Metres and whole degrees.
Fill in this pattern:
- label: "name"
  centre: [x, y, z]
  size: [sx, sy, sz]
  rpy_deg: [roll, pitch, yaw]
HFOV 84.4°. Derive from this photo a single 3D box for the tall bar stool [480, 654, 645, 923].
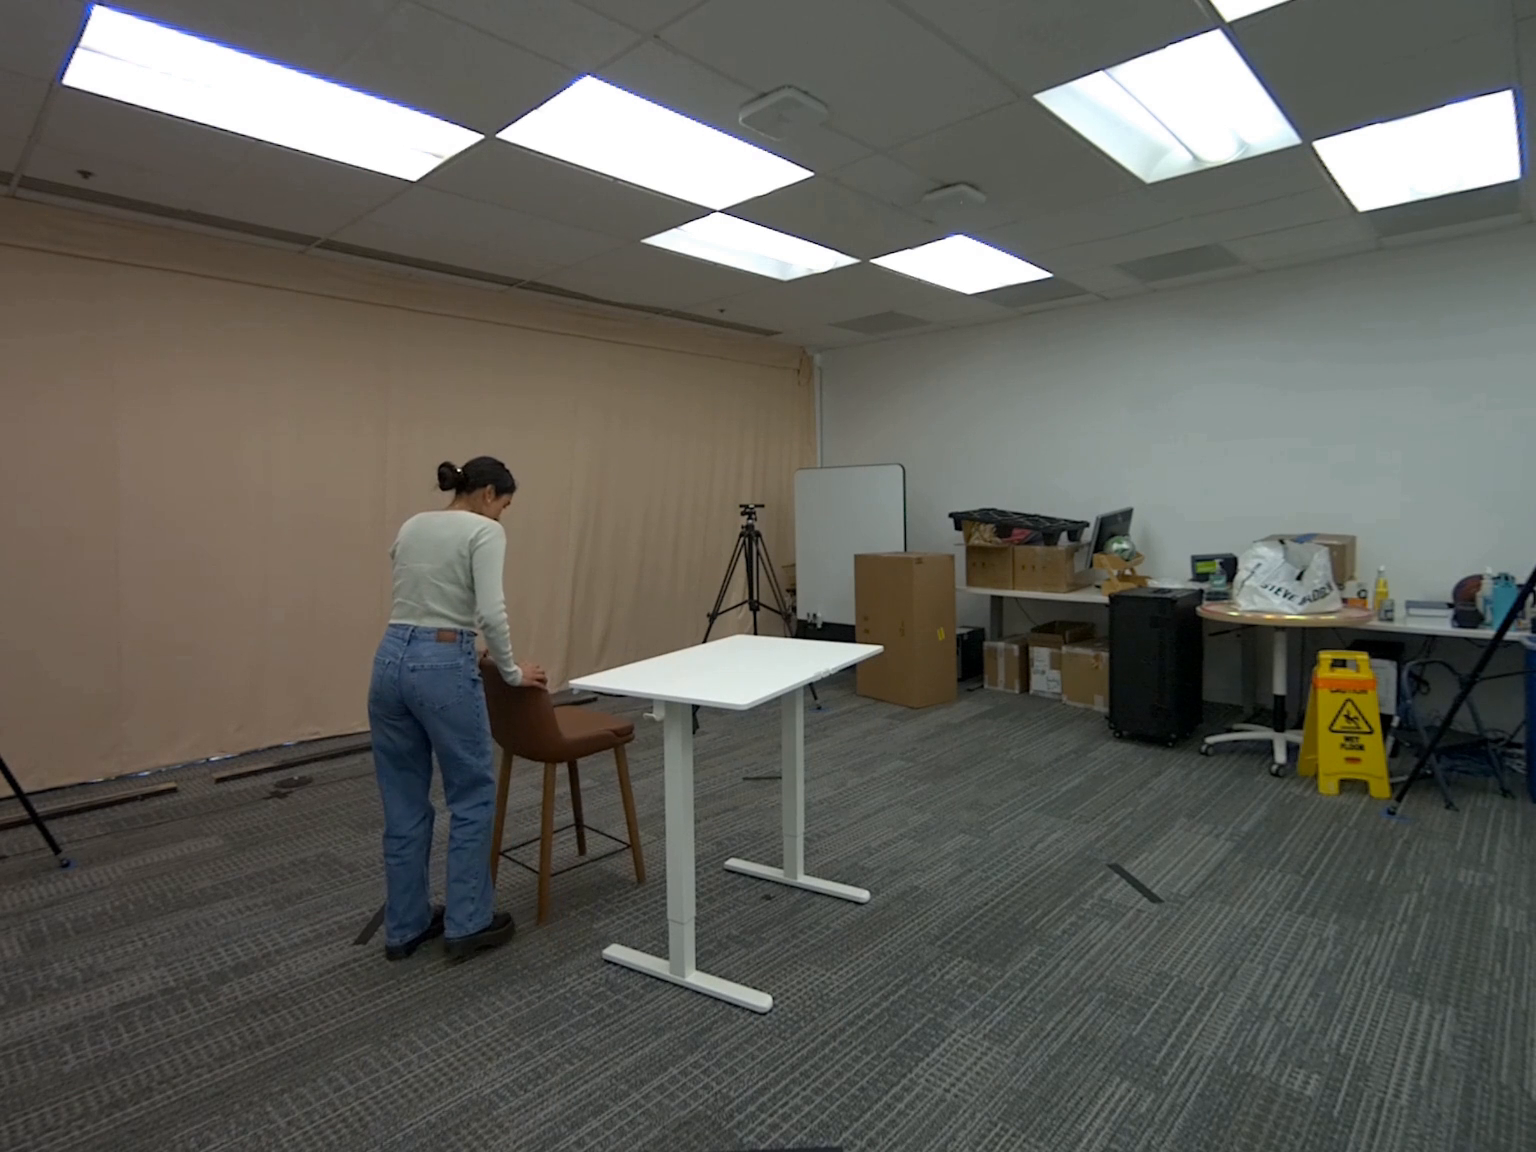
- label: "tall bar stool"
  centre: [-0.767, 0.707, 3.078]
  size: [0.454, 0.887, 0.471]
  rpy_deg: [-8, 6, -44]
